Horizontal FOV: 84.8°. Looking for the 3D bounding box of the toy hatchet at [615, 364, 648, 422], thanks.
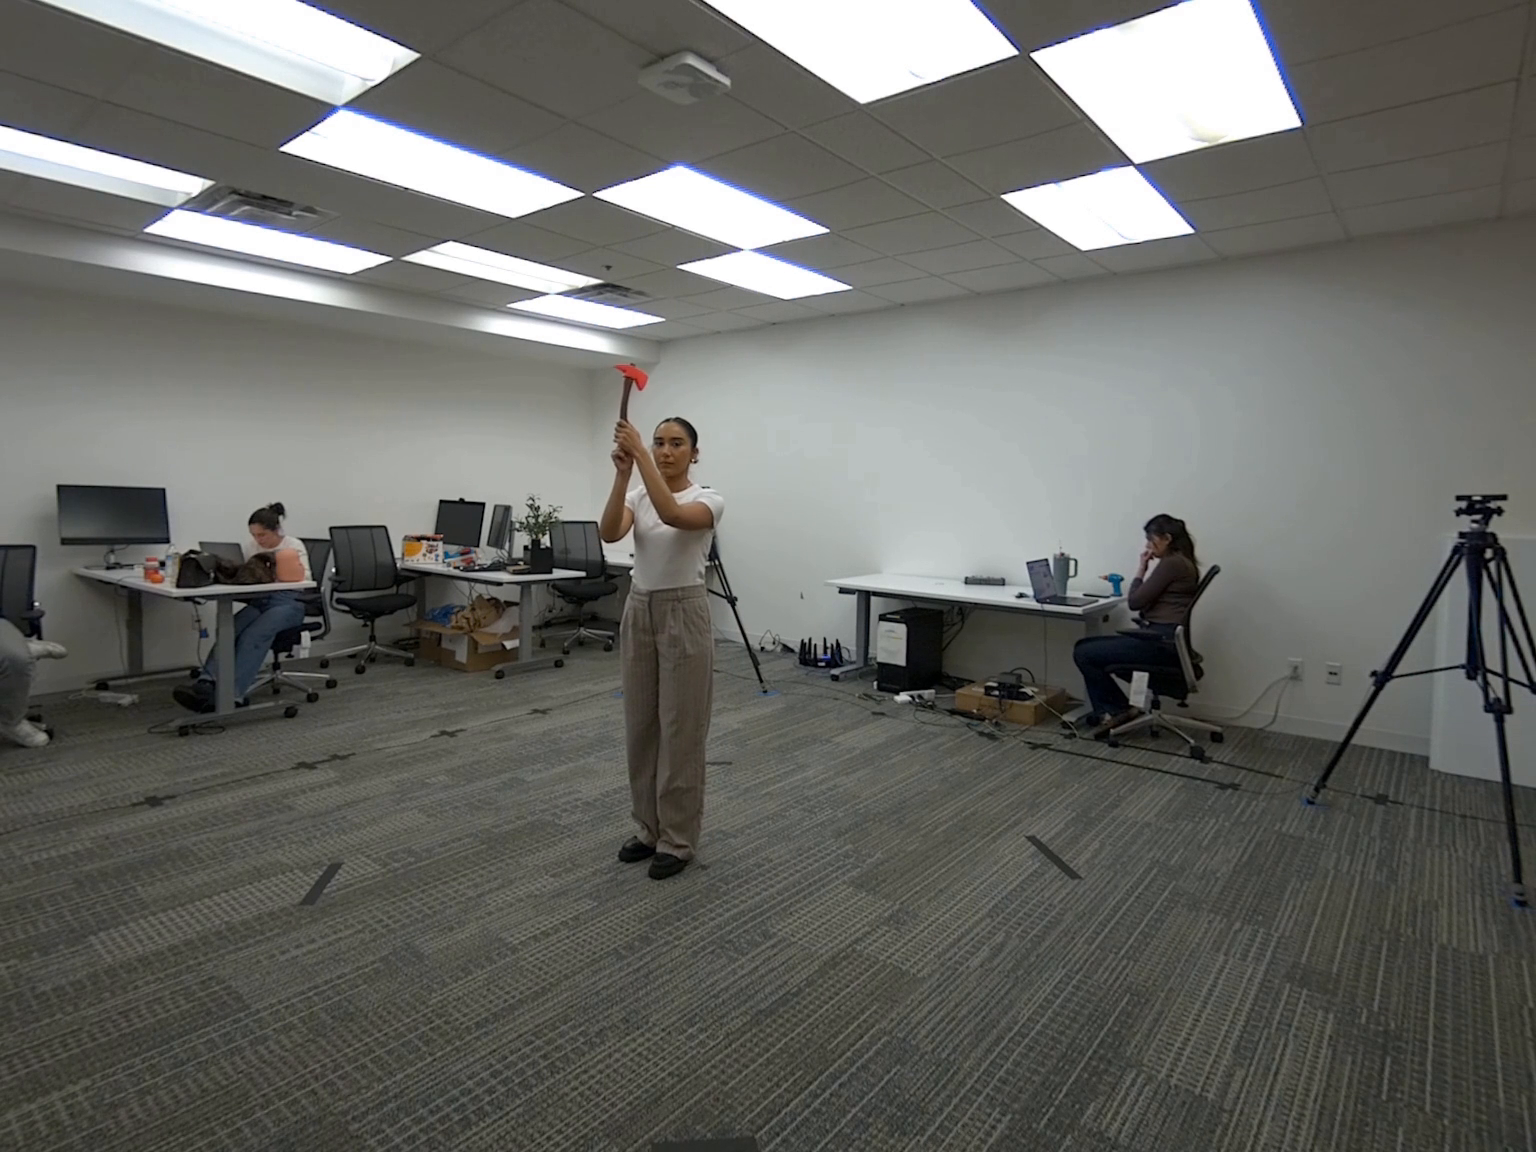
[{"bbox_3d":[-0.470,-0.599,2.915,0.127,0.269,0.030,-8,6,-40],"label":"toy hatchet"}]
